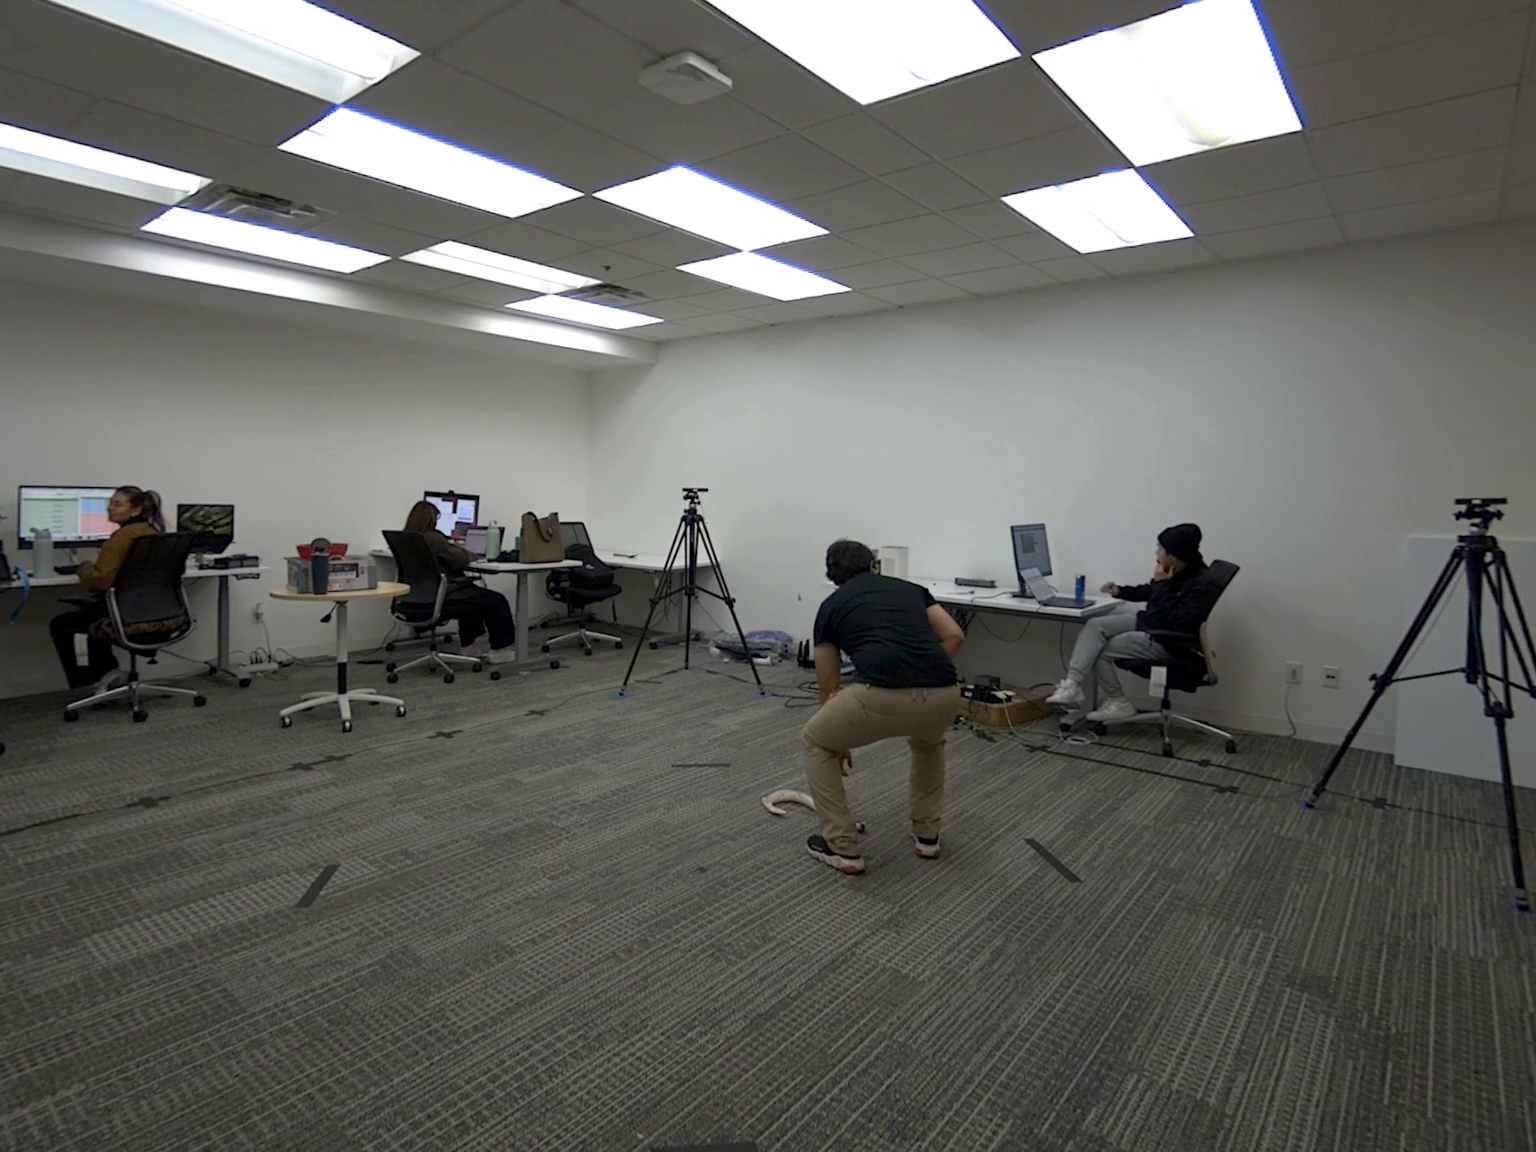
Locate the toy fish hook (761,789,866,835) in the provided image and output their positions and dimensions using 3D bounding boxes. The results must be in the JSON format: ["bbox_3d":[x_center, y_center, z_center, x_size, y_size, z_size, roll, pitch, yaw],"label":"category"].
[{"bbox_3d":[0.173,1.011,3.639,0.219,0.048,0.524,-13,13,-41],"label":"toy fish hook"}]
